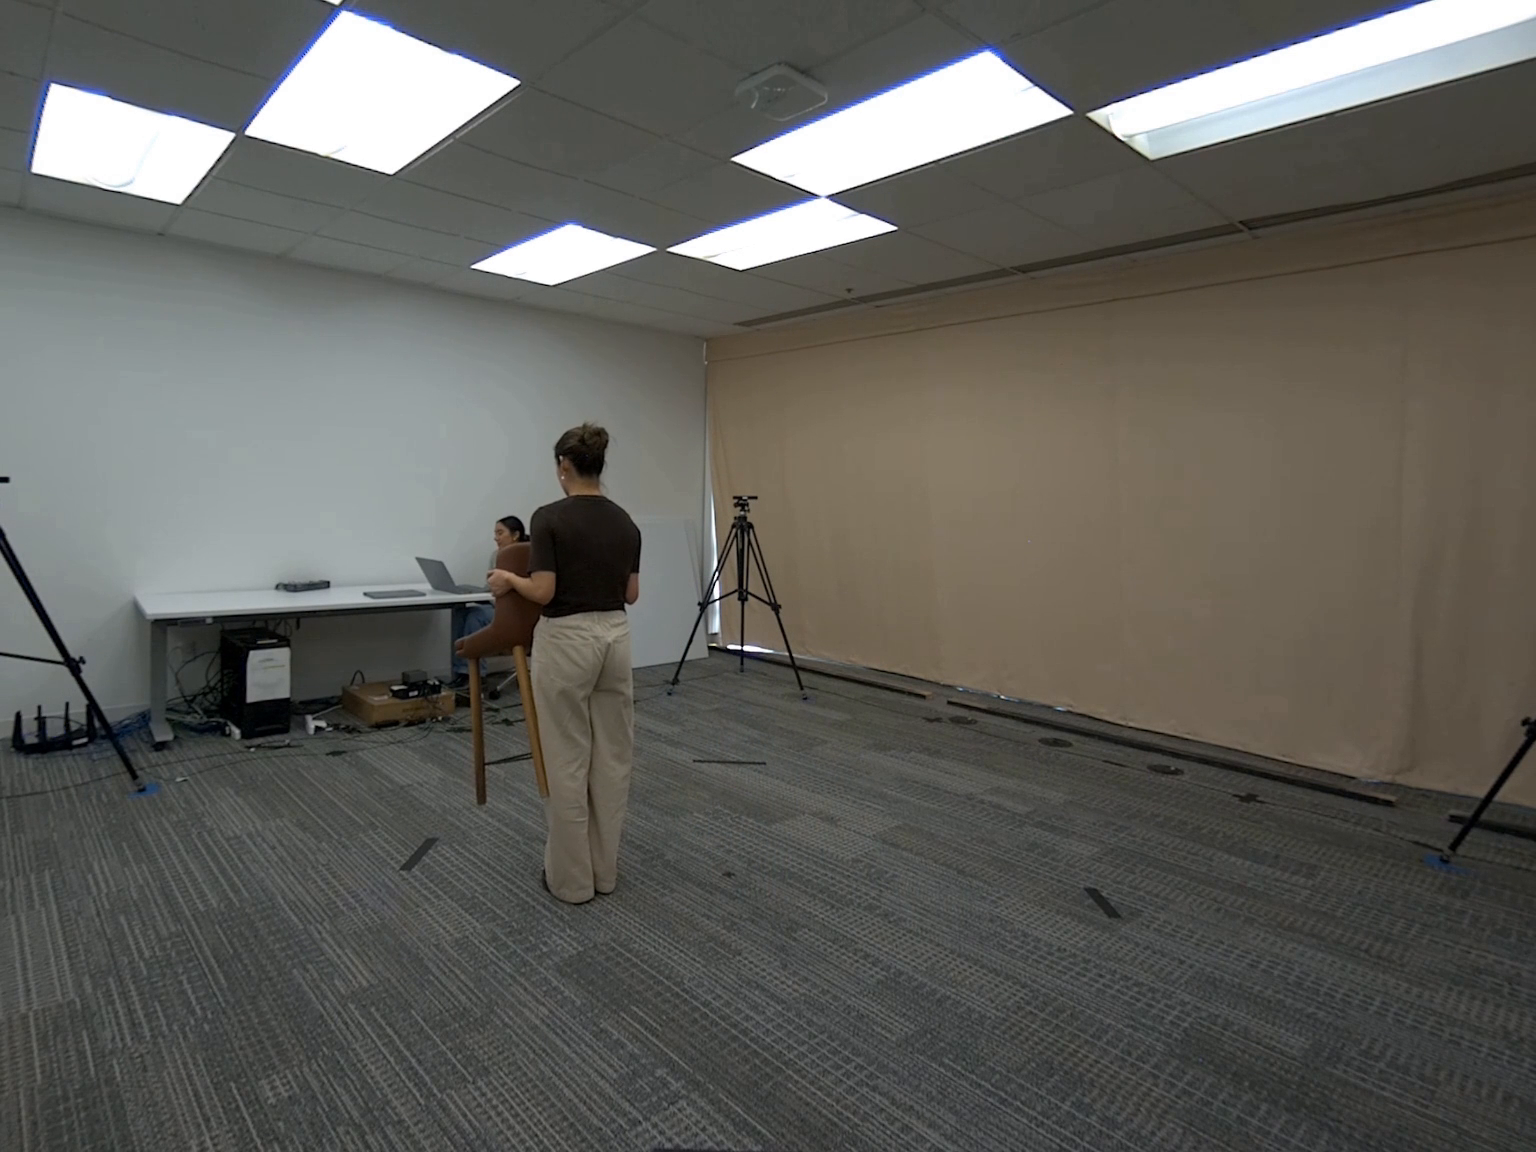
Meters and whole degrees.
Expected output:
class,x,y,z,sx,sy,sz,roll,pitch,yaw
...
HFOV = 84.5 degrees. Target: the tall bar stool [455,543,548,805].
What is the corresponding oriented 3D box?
class,x,y,z,sx,sy,sz,roll,pitch,yaw
tall bar stool,-0.876,0.360,3.151,0.446,0.896,0.475,-4,-10,-45
